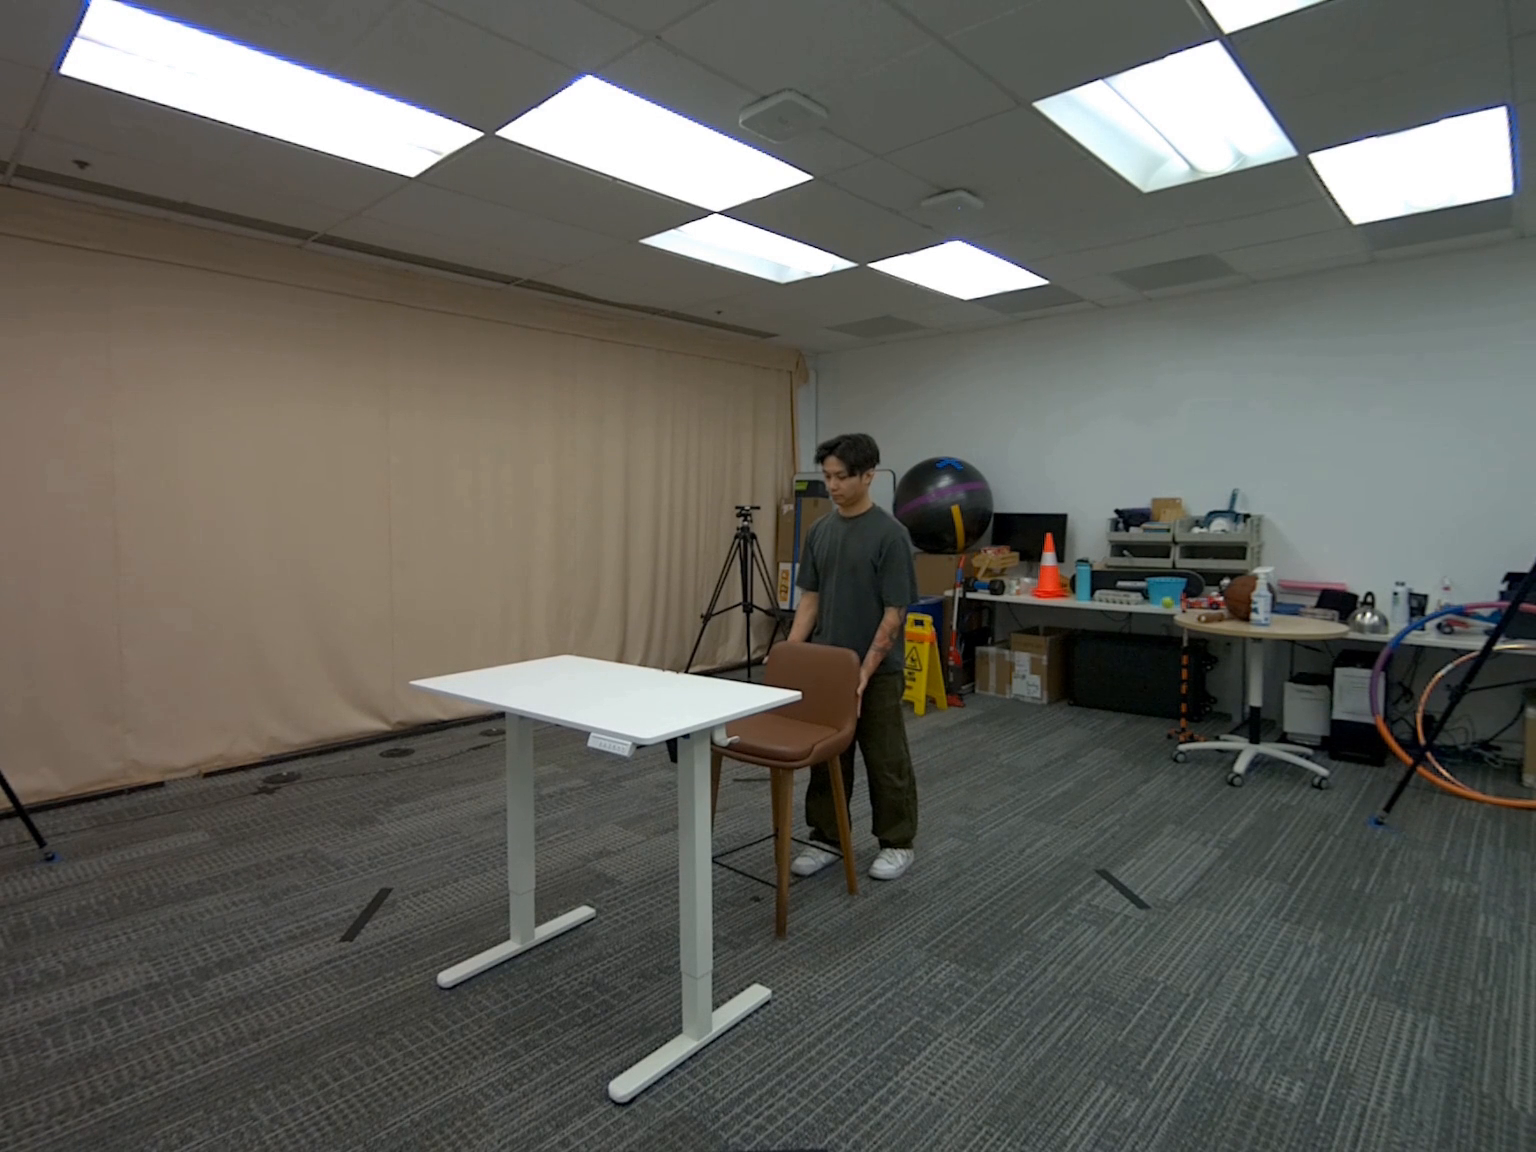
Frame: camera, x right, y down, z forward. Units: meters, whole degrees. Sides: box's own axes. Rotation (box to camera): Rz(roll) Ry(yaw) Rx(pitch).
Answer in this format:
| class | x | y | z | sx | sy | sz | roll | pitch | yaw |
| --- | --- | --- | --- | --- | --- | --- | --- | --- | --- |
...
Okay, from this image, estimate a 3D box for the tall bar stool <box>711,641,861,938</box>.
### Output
| class | x | y | z | sx | sy | sz | roll | pitch | yaw |
| --- | --- | --- | --- | --- | --- | --- | --- | --- | --- |
| tall bar stool | 0.044 | 0.709 | 2.978 | 0.471 | 0.889 | 0.453 | 2 | 2 | 42 |
